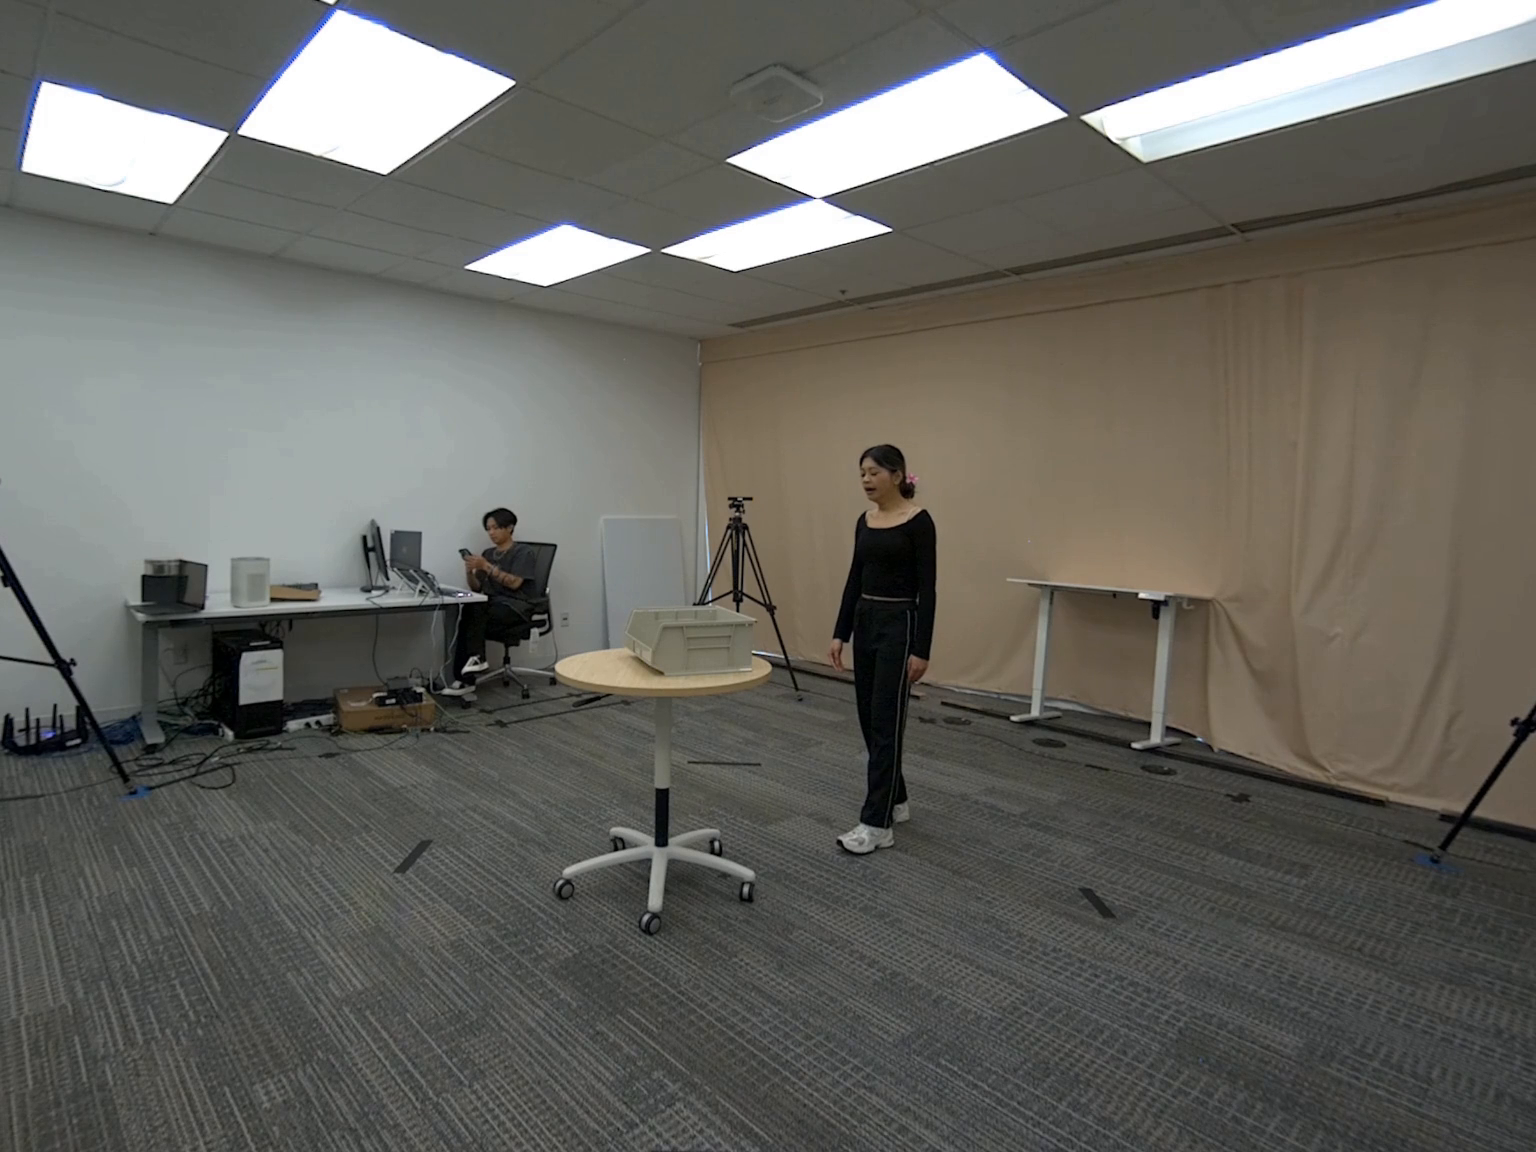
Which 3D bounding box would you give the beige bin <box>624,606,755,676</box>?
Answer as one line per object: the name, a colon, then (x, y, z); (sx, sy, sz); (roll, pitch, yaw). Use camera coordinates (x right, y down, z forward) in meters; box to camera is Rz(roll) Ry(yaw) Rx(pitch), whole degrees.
beige bin: (-0.300, 0.227, 3.031); (0.371, 0.188, 0.430); (0, 4, -22)
